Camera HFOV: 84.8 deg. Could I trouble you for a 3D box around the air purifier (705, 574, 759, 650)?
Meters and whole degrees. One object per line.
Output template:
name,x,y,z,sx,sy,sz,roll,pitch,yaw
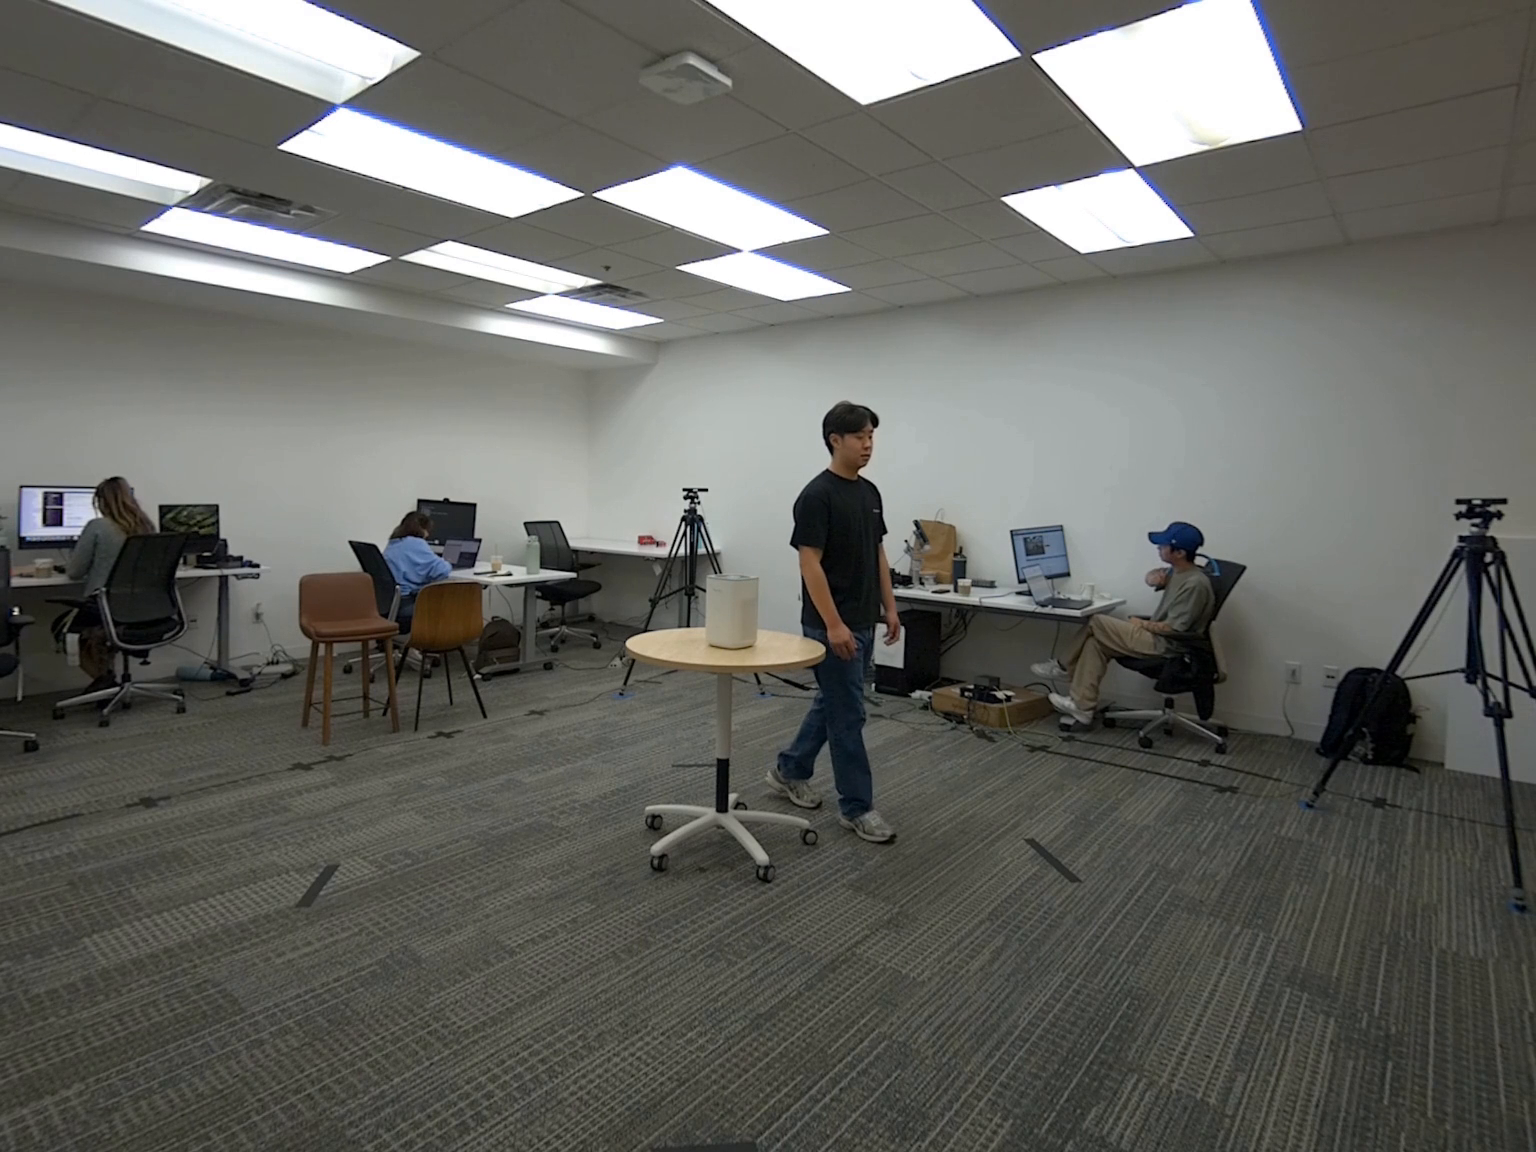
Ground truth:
air purifier,-0.149,0.130,3.247,0.177,0.265,0.166,3,3,39
